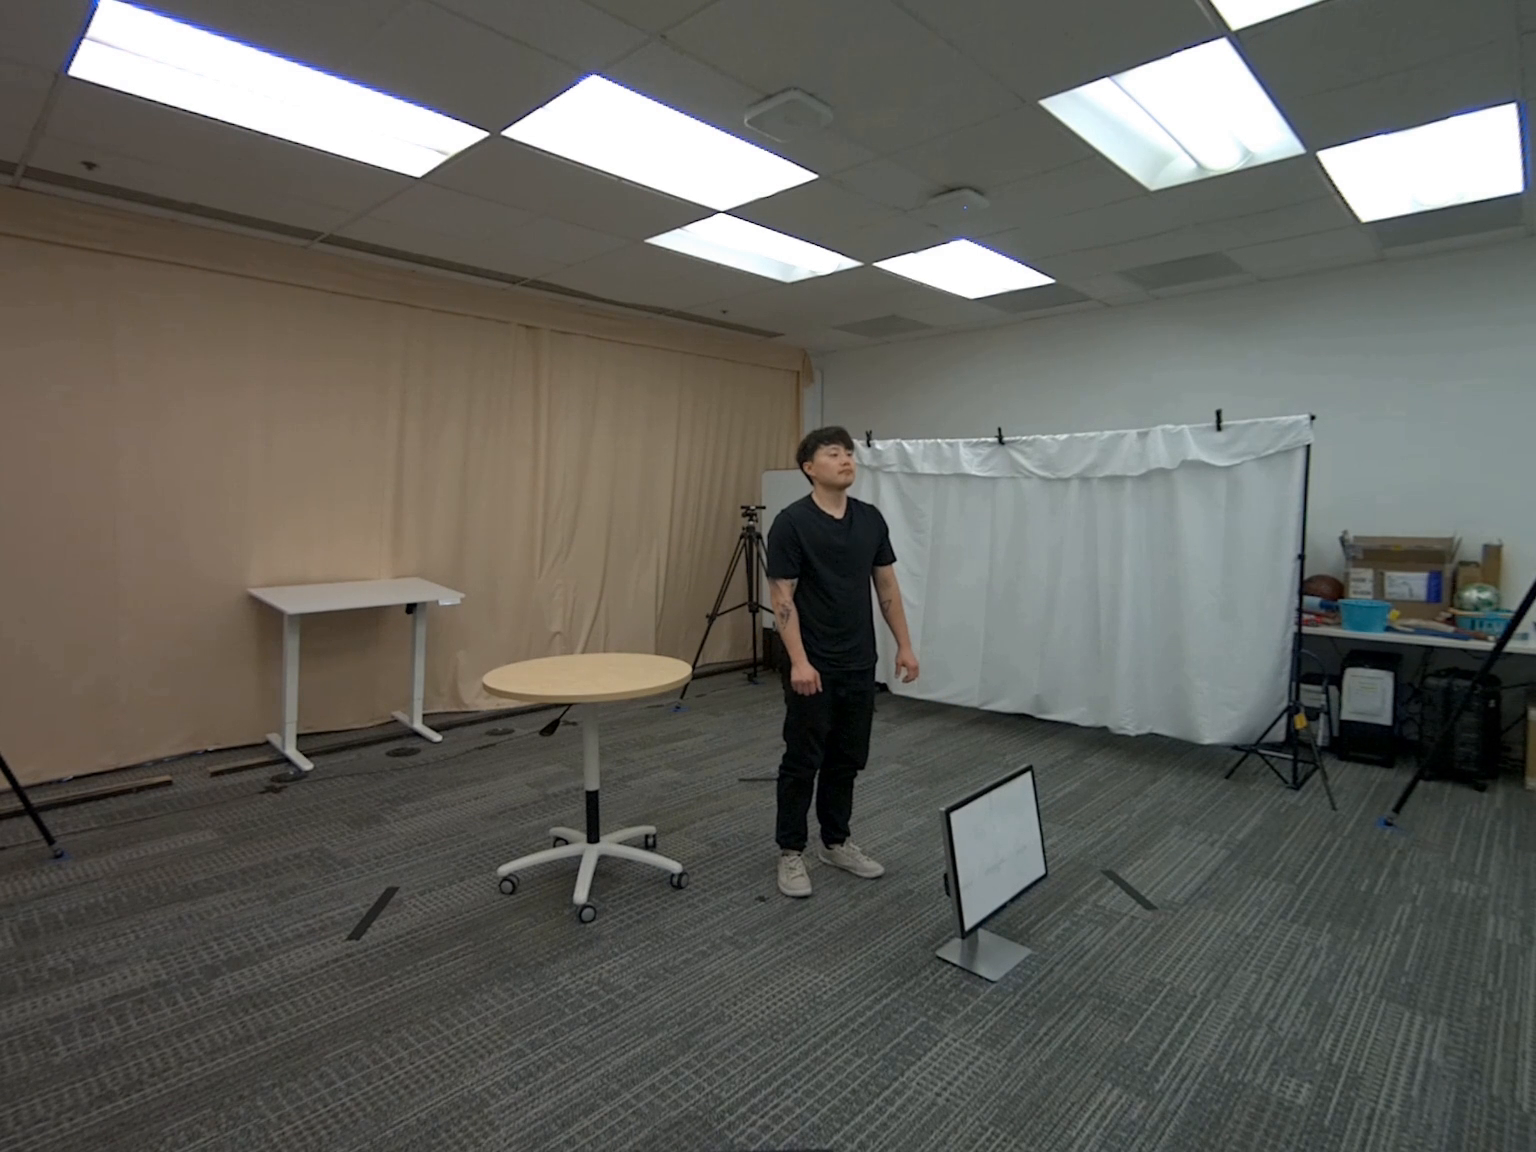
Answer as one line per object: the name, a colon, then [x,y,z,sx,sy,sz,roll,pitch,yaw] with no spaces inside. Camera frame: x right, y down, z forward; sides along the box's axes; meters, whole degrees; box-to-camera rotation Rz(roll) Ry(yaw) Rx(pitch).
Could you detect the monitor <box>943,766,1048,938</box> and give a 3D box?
monitor: [0.683,0.913,2.586,0.193,0.521,0.523,7,8,40]
